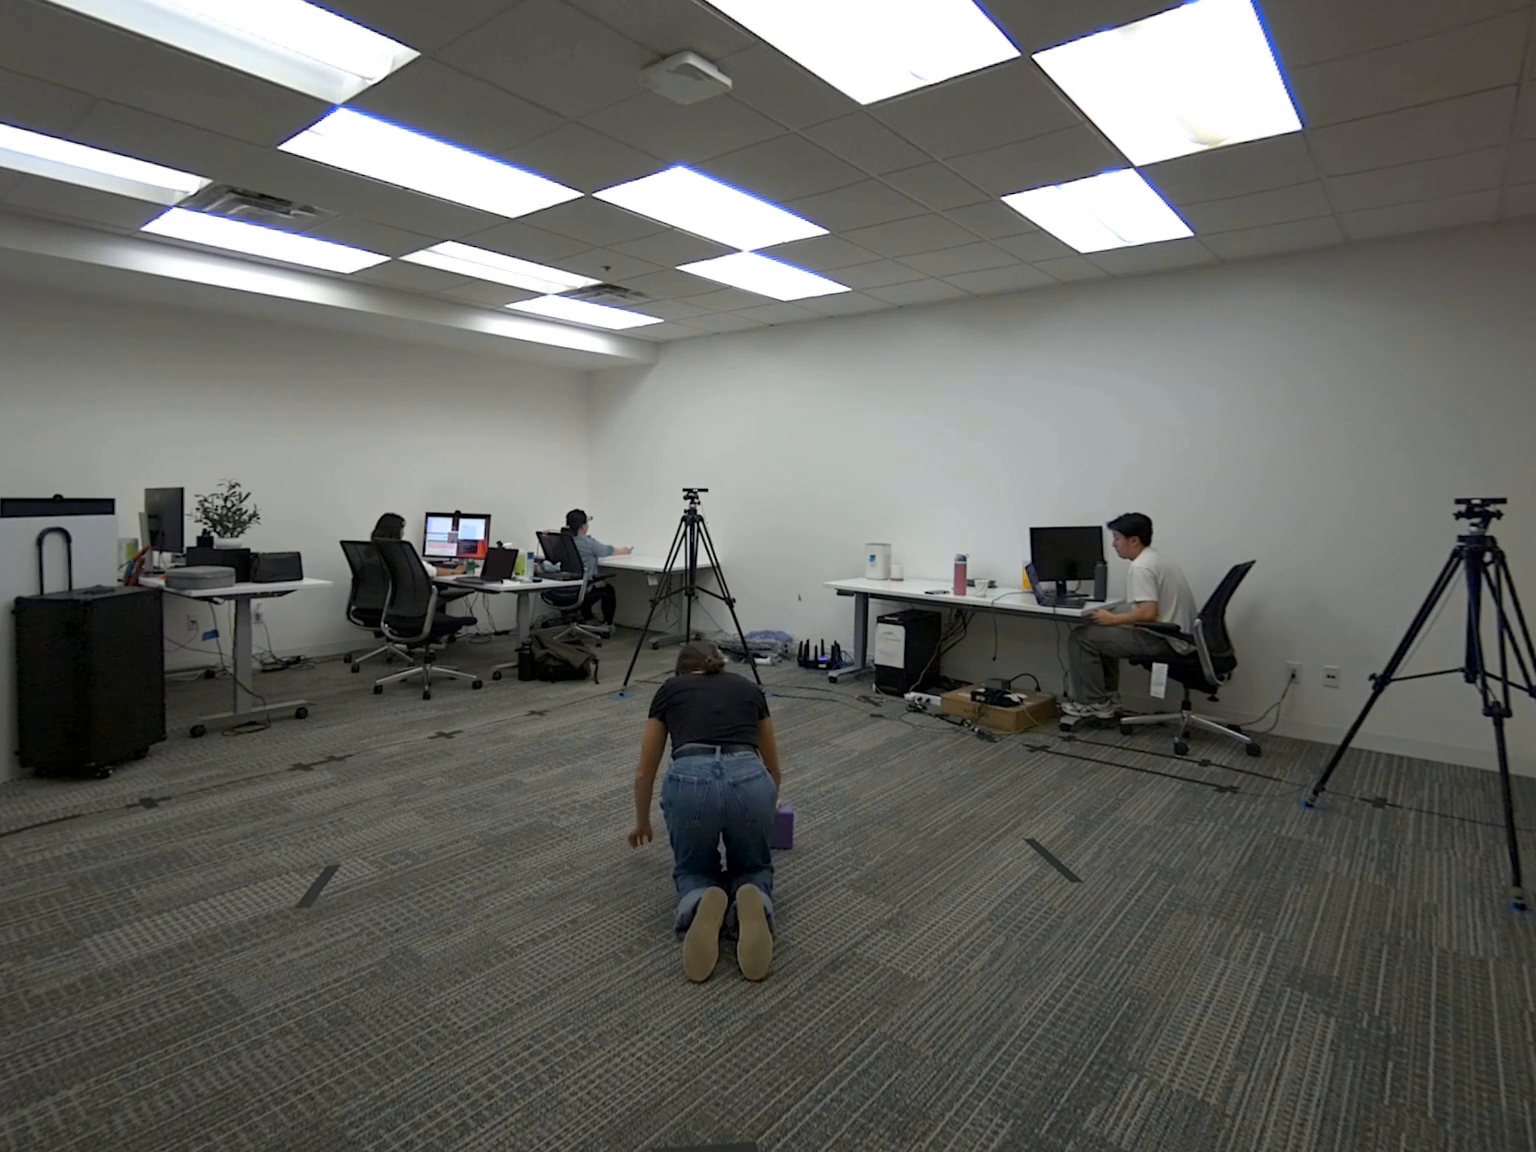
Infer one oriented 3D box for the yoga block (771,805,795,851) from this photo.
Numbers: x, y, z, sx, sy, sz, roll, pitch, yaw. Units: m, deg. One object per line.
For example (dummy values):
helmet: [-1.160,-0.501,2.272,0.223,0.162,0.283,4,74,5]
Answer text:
yoga block: [-0.015,0.966,3.327,0.230,0.149,0.076,-2,2,3]
